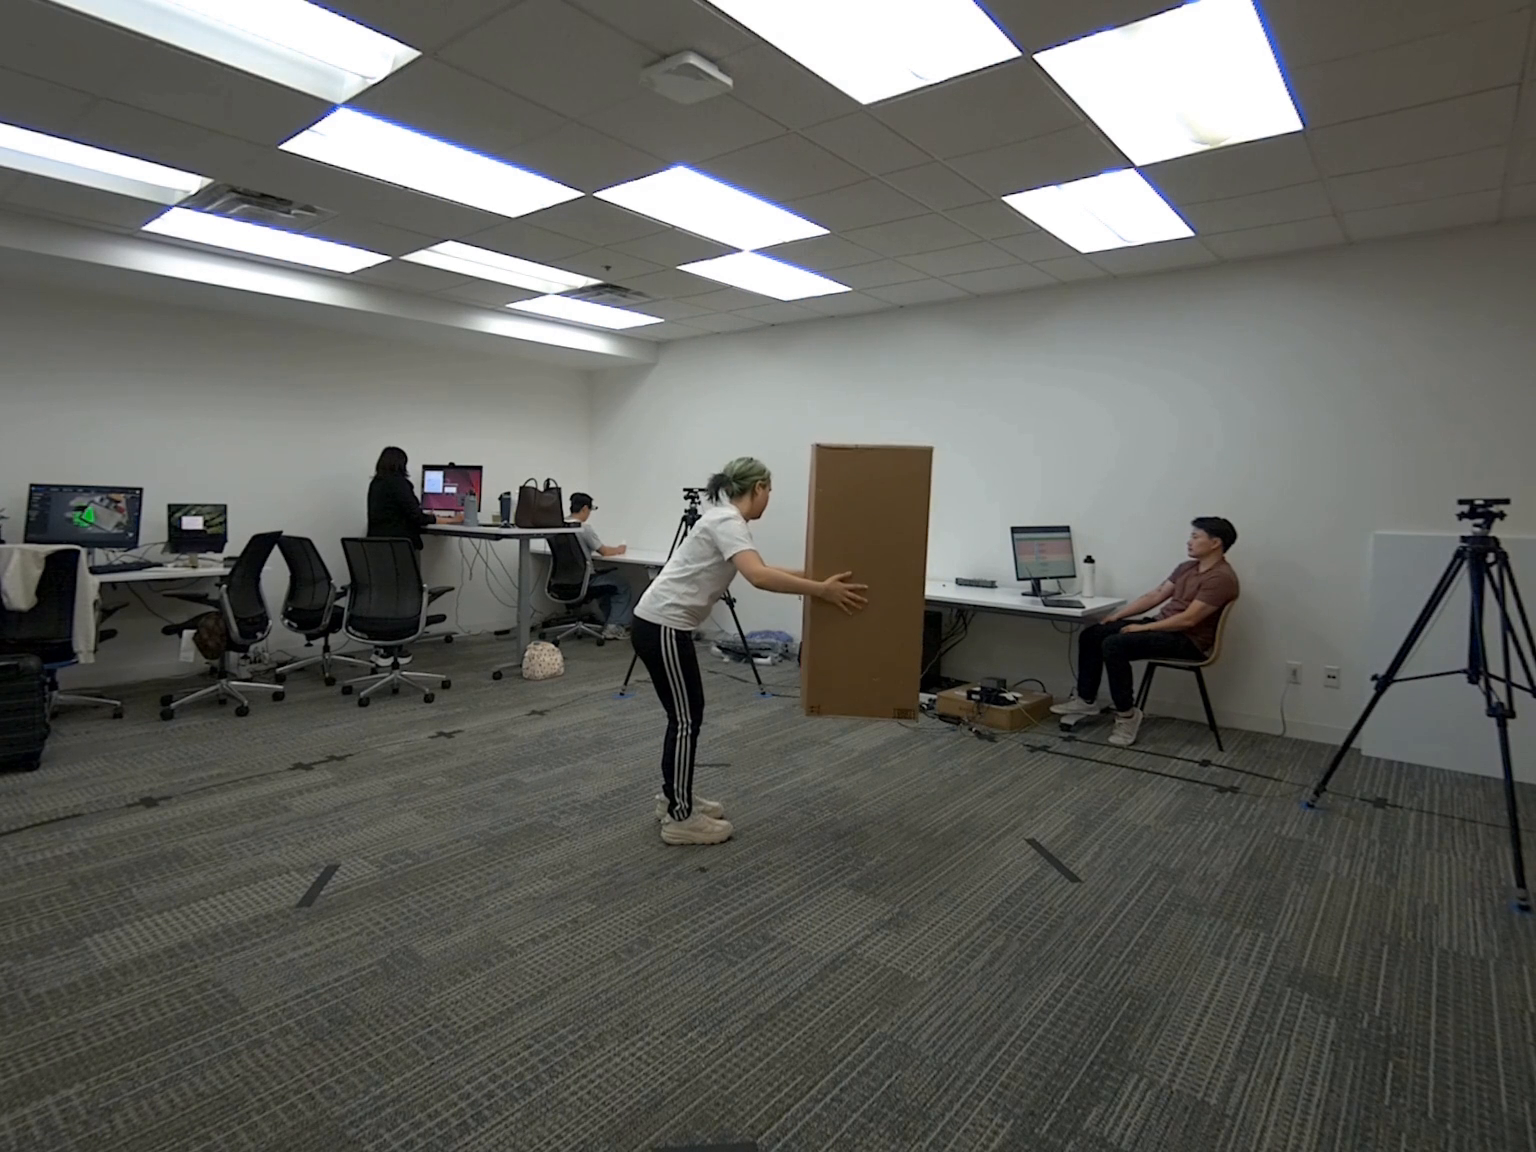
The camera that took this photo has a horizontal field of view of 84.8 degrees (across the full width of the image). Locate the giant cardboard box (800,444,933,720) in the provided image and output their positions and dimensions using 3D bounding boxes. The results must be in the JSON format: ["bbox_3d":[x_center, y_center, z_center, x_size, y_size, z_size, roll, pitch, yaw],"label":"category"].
[{"bbox_3d":[0.363,-0.013,3.402,0.448,1.021,0.585,3,6,2],"label":"giant cardboard box"}]
